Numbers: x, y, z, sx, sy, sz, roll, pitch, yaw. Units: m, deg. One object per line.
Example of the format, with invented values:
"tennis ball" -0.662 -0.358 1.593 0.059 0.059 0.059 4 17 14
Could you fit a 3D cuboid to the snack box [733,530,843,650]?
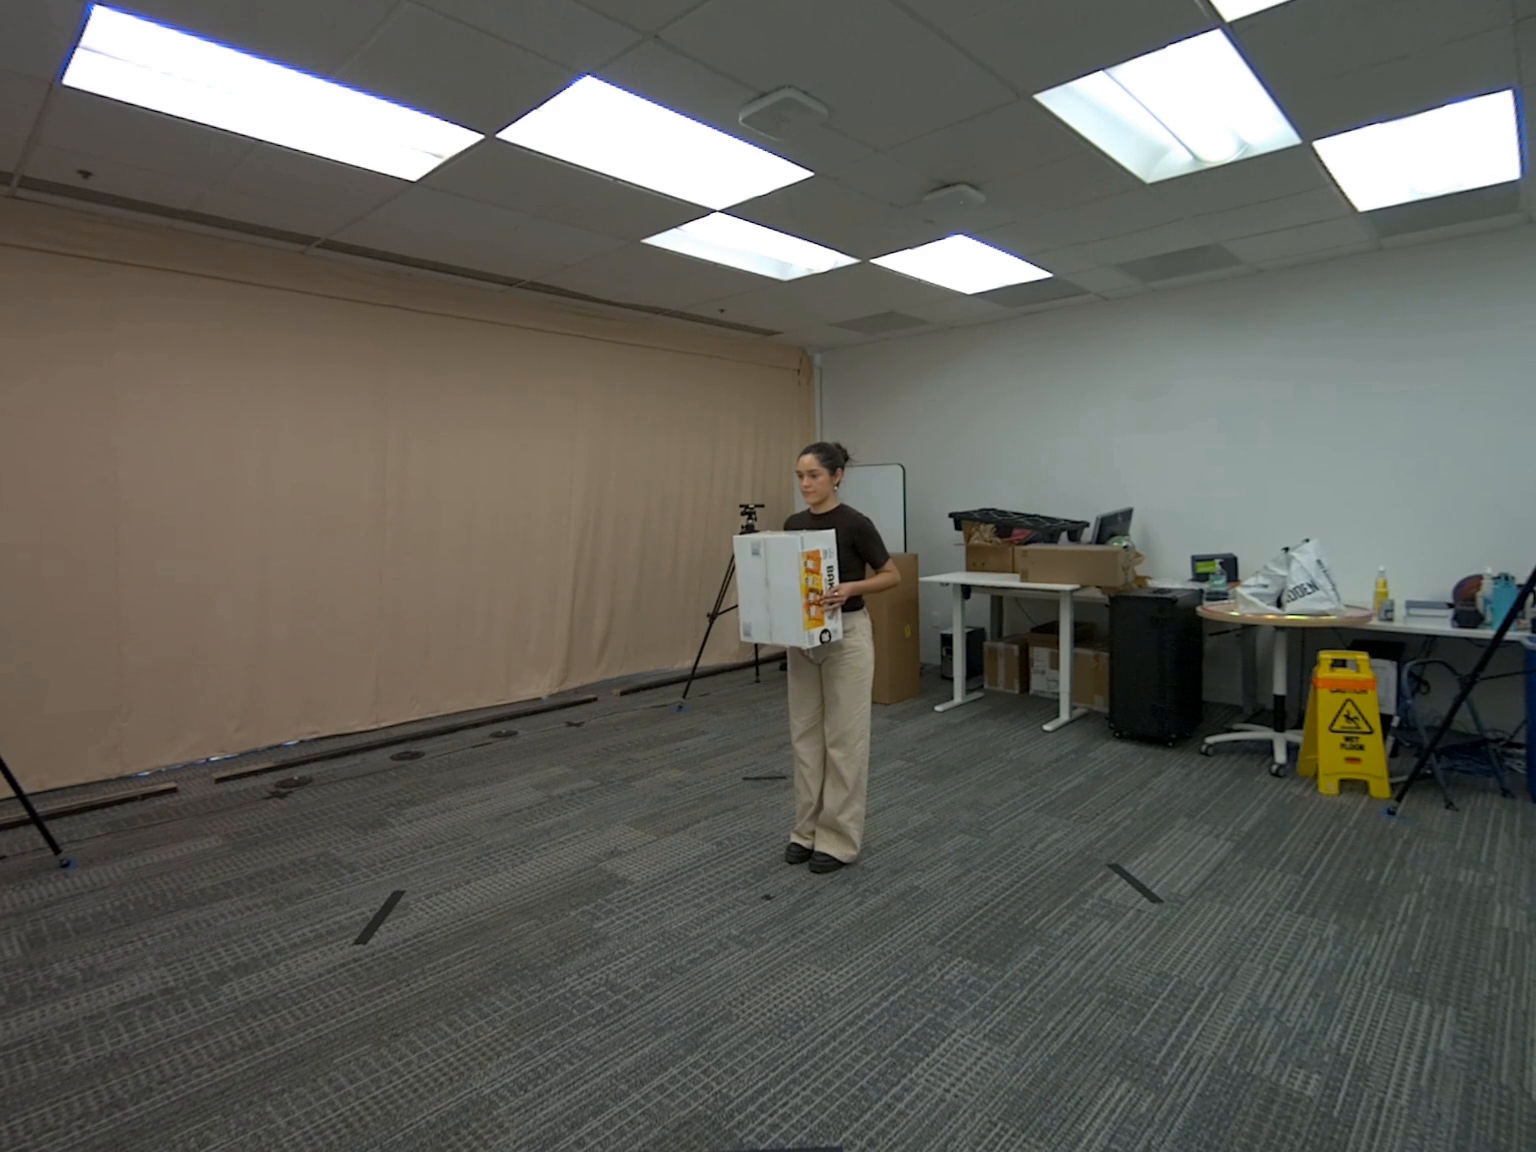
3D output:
"snack box" 0.077 0.040 3.141 0.200 0.404 0.351 -9 7 -44
